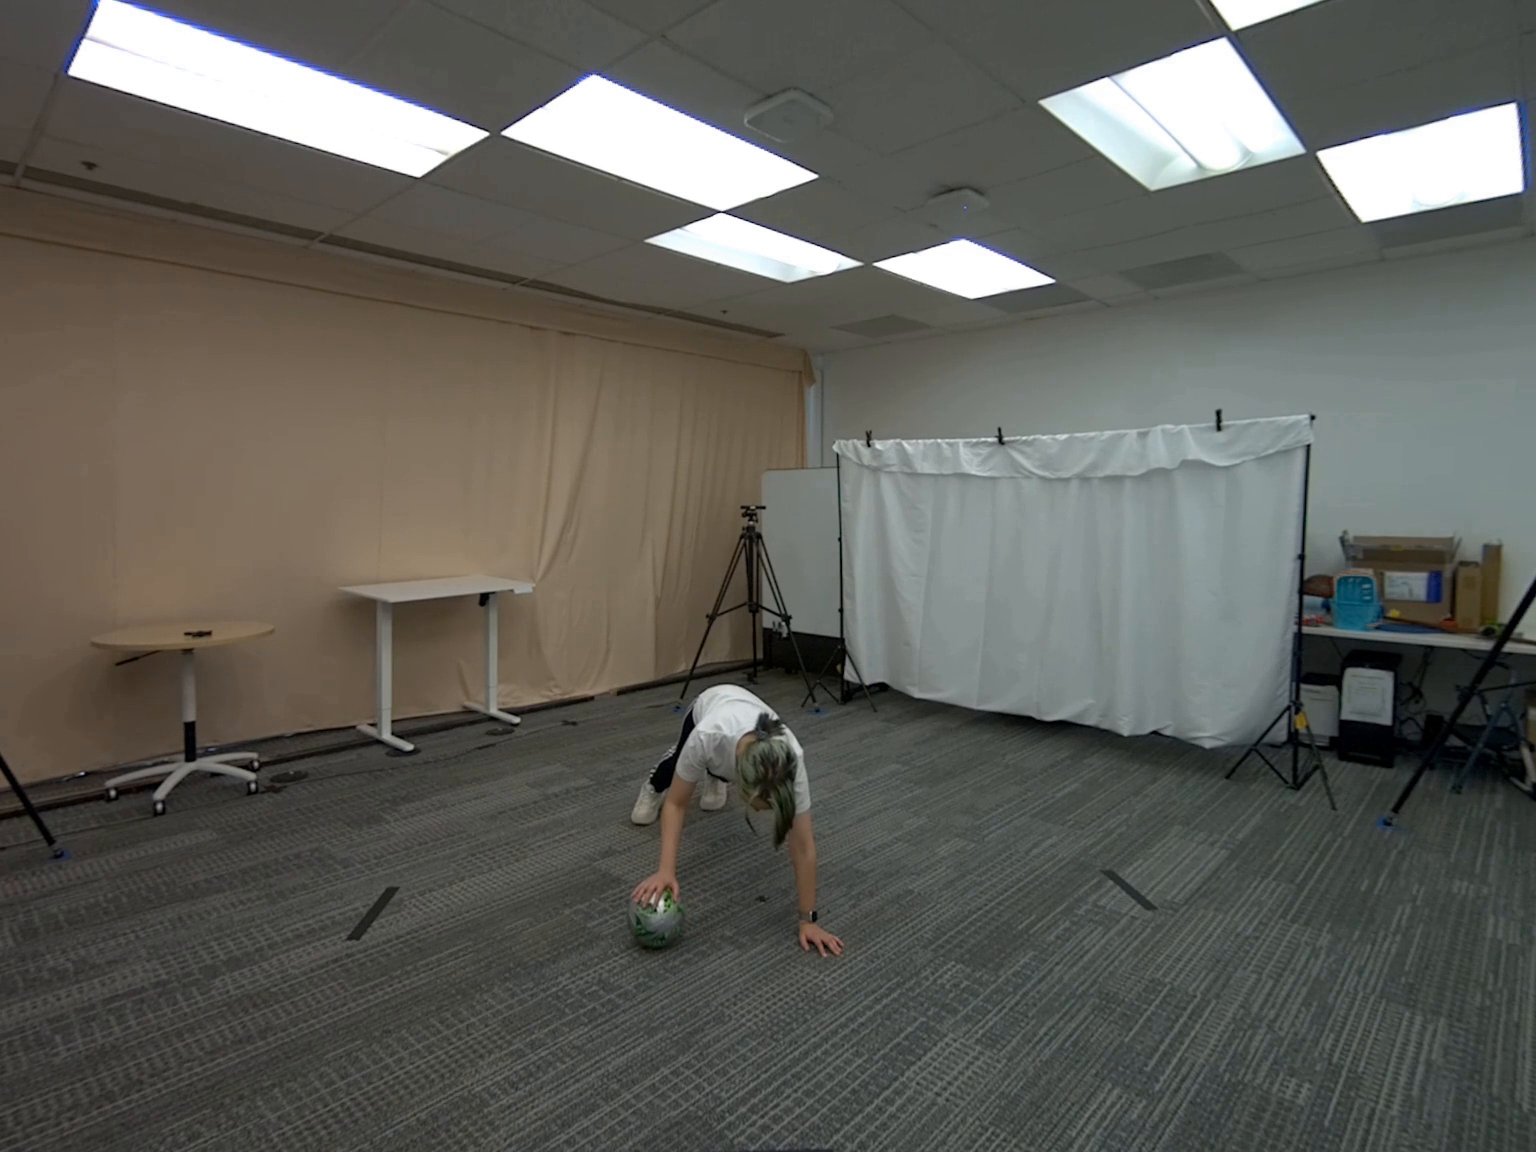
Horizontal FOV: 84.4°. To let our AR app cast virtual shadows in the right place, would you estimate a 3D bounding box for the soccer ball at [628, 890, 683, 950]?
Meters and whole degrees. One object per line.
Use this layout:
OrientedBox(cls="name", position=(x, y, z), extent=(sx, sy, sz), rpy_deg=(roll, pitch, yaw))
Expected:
OrientedBox(cls="soccer ball", position=(-0.364, 1.076, 2.684), extent=(0.187, 0.187, 0.188), rpy_deg=(0, 4, -2))
